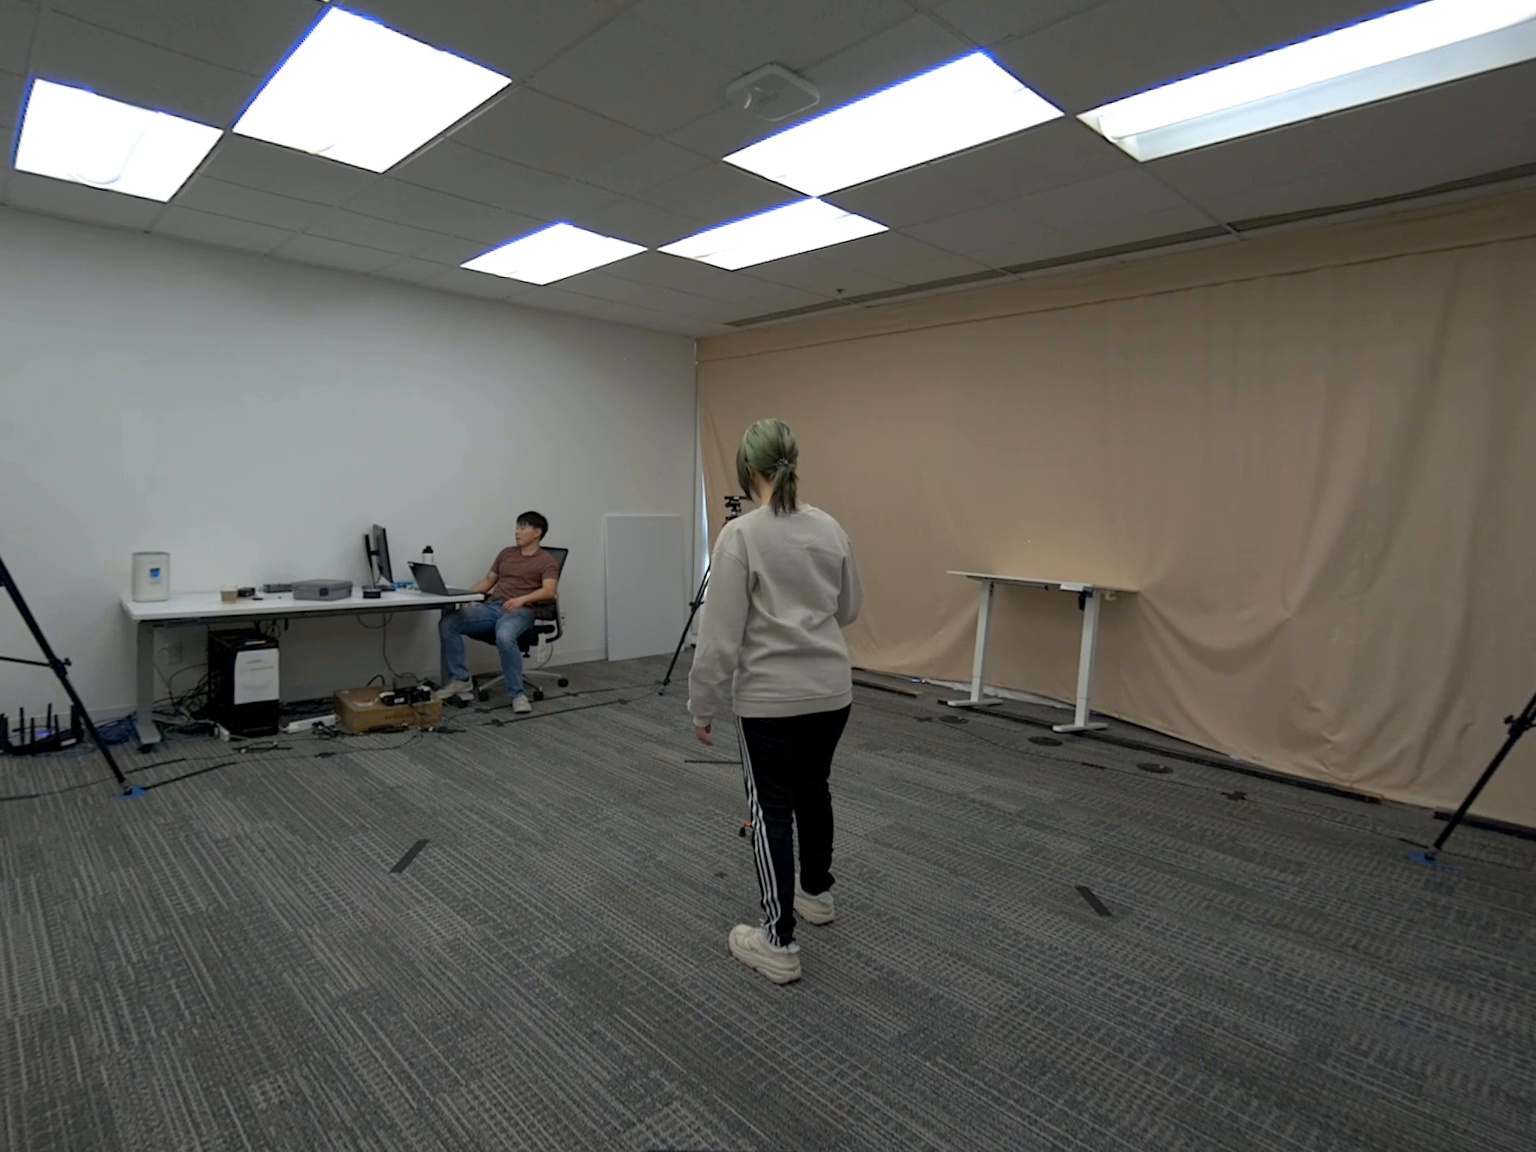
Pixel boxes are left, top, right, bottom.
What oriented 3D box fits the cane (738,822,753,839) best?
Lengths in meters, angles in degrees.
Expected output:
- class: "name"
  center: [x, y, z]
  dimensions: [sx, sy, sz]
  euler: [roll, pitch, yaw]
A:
- class: "cane"
  center: [-0.002, 0.629, 3.402]
  dimensions: [0.149, 0.906, 0.211]
  euler: [1, 3, -26]
